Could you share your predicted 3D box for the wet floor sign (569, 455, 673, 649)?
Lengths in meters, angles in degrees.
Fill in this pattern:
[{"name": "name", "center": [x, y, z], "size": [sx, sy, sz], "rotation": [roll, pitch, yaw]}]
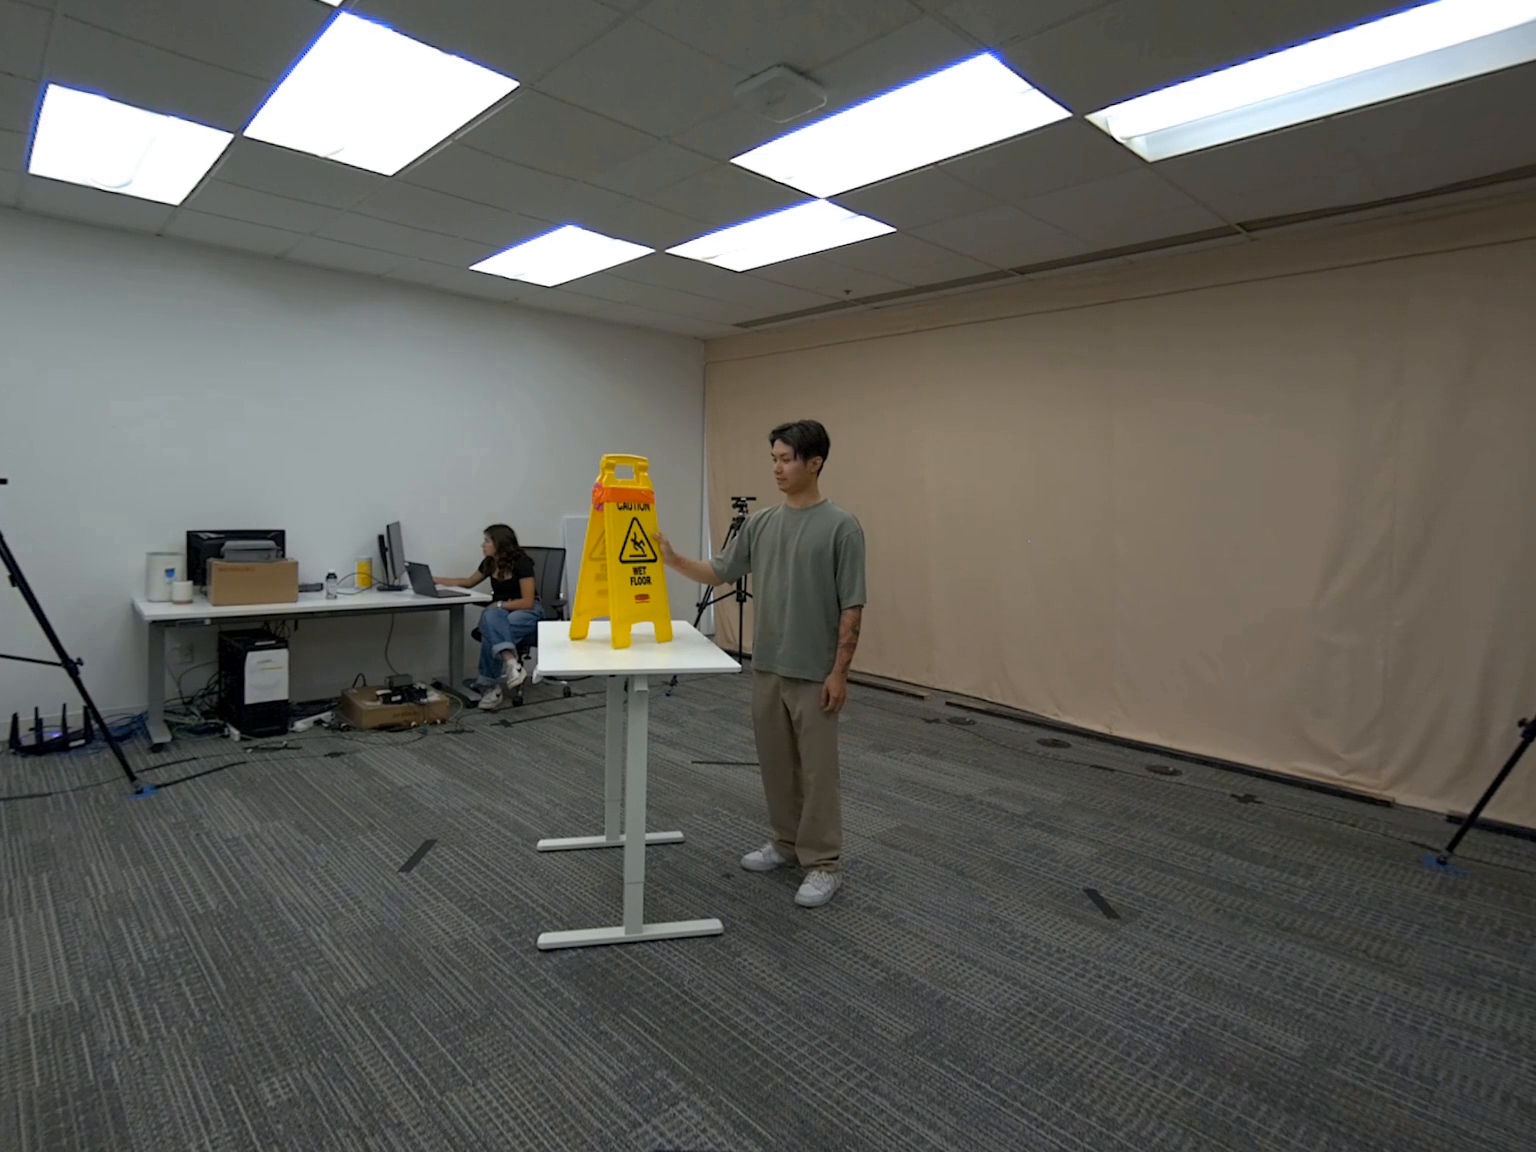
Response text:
[{"name": "wet floor sign", "center": [-0.520, -0.096, 2.950], "size": [0.297, 0.645, 0.276], "rotation": [4, 3, 39]}]
